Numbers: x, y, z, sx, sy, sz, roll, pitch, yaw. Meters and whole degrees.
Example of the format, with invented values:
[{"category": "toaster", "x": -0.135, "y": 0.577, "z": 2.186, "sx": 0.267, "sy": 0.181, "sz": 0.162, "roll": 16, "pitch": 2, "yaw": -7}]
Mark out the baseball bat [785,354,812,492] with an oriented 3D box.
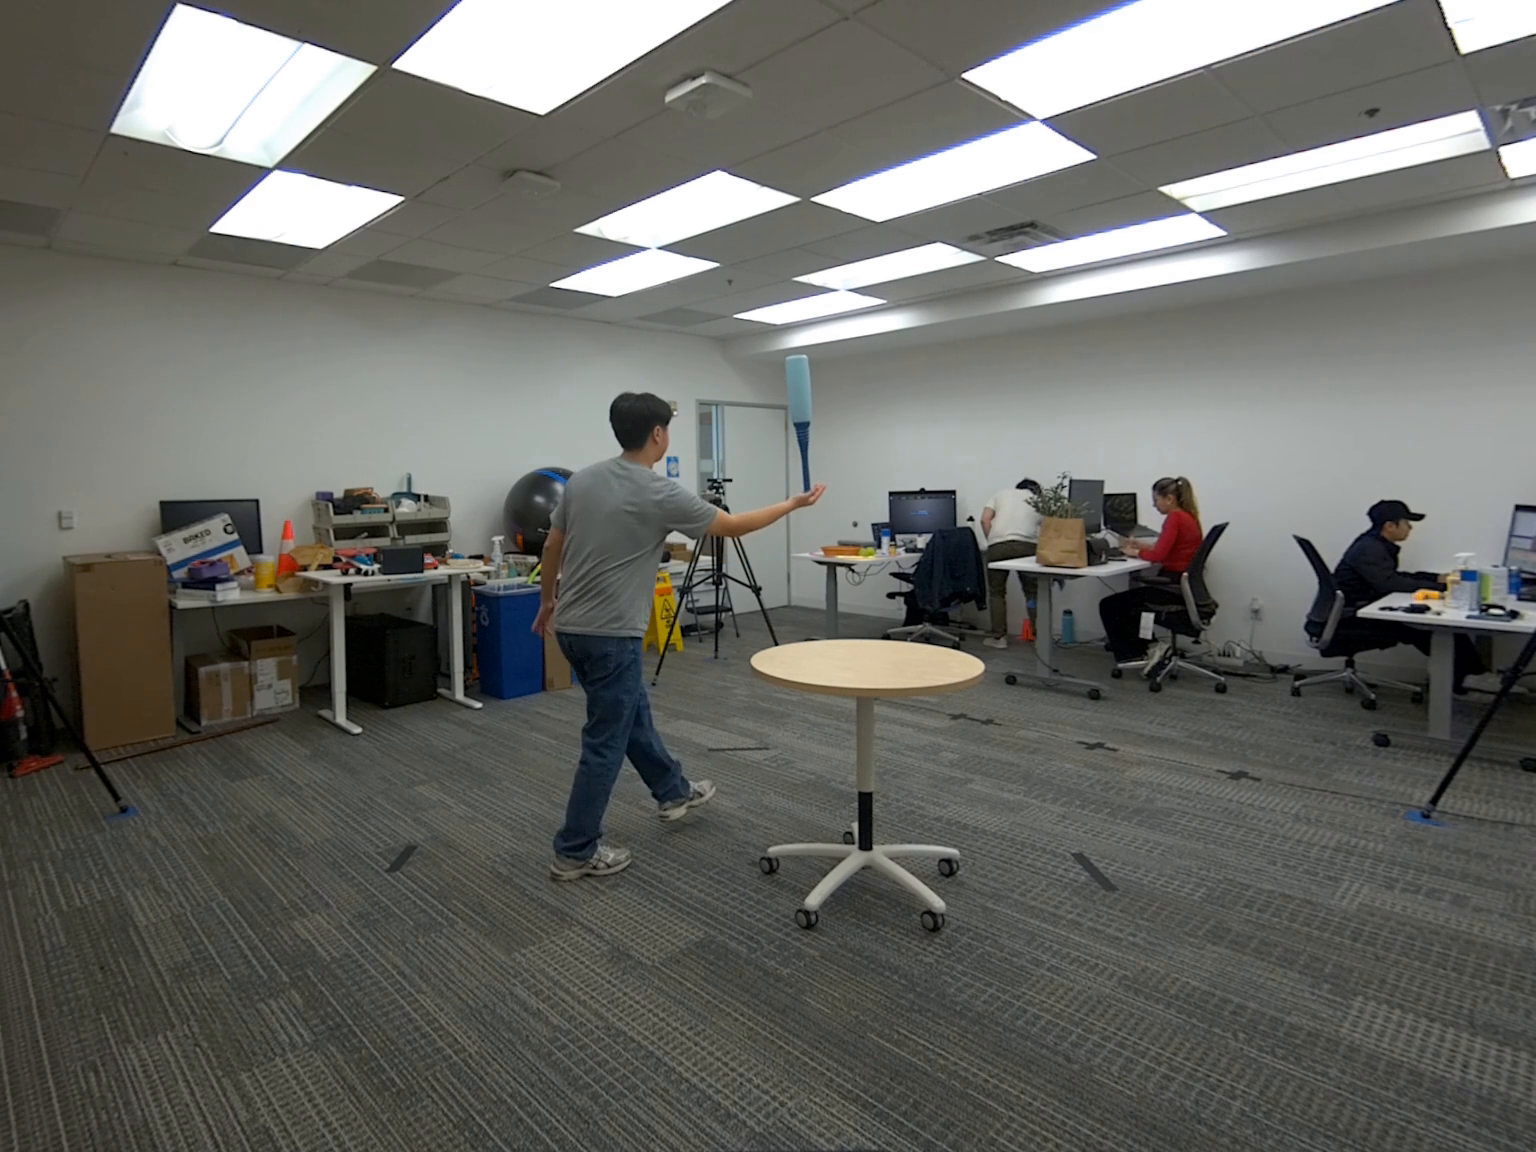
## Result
[{"category": "baseball bat", "x": 0.133, "y": -0.561, "z": 3.279, "sx": 0.089, "sy": 0.539, "sz": 0.090, "roll": -6, "pitch": 7, "yaw": -1}]
